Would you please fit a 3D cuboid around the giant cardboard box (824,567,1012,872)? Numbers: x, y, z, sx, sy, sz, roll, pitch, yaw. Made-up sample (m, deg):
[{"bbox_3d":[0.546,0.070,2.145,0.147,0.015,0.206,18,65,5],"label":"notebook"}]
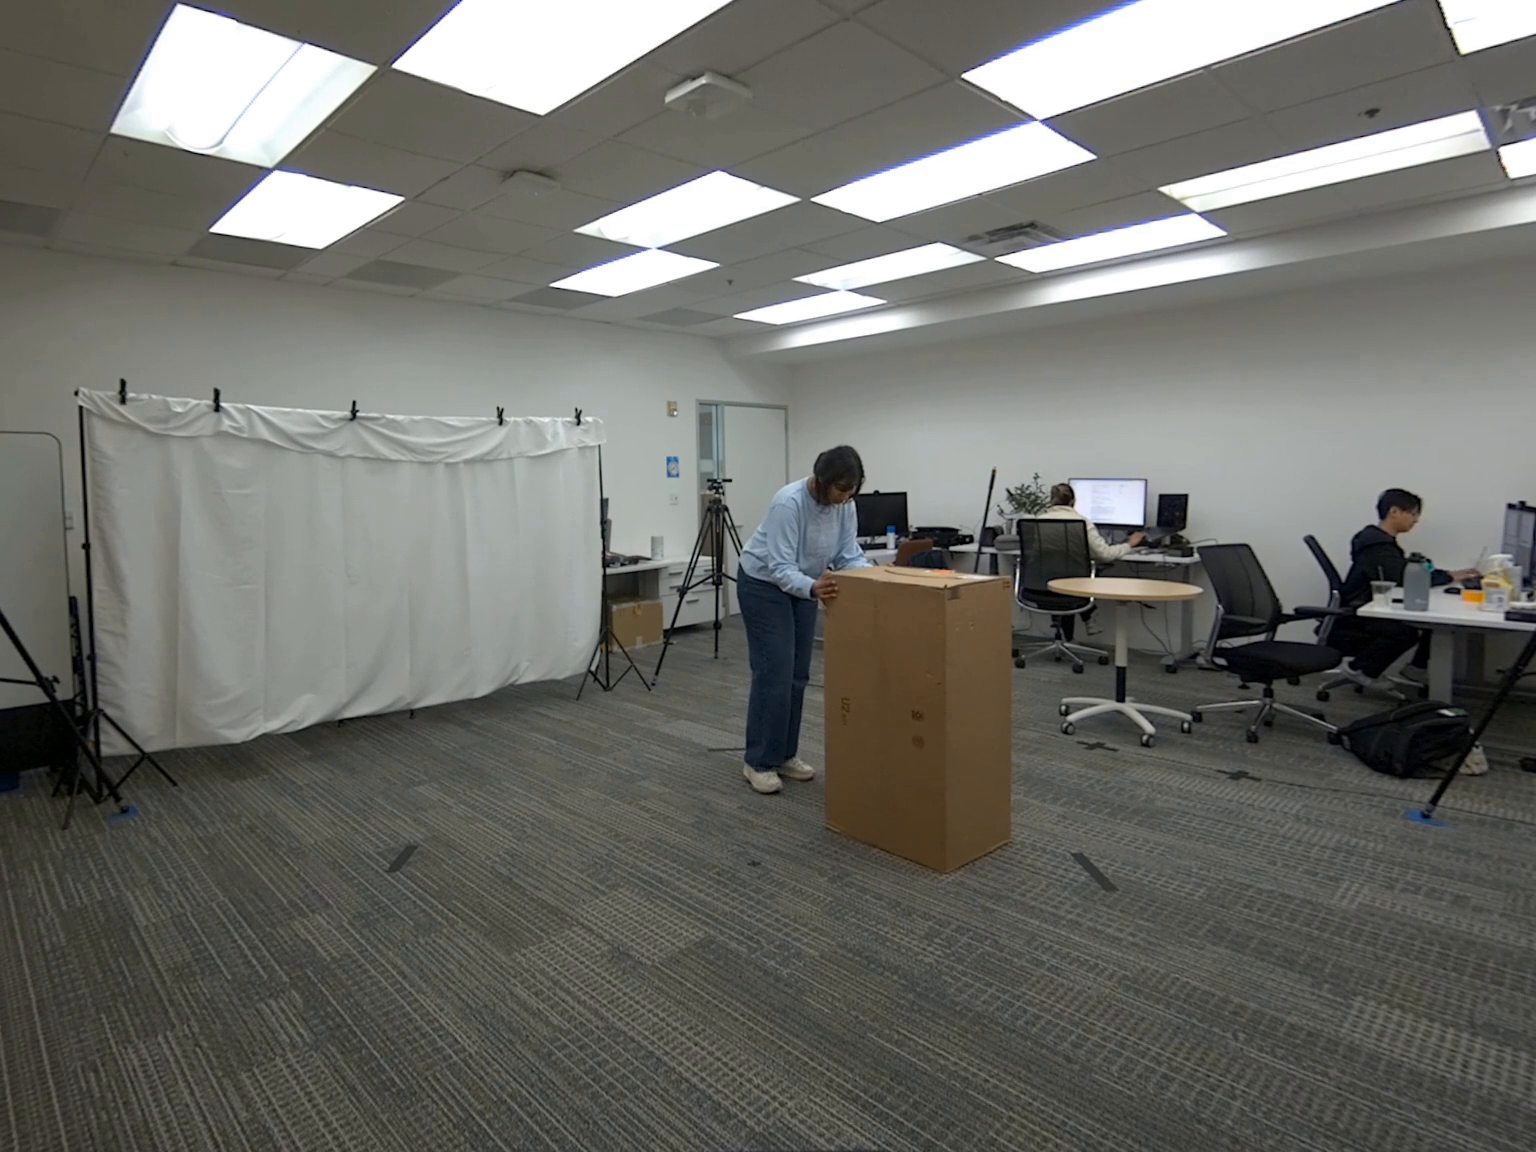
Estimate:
[{"bbox_3d":[0.579,0.507,3.310,0.415,1.022,0.595,-4,5,-42],"label":"giant cardboard box"}]
